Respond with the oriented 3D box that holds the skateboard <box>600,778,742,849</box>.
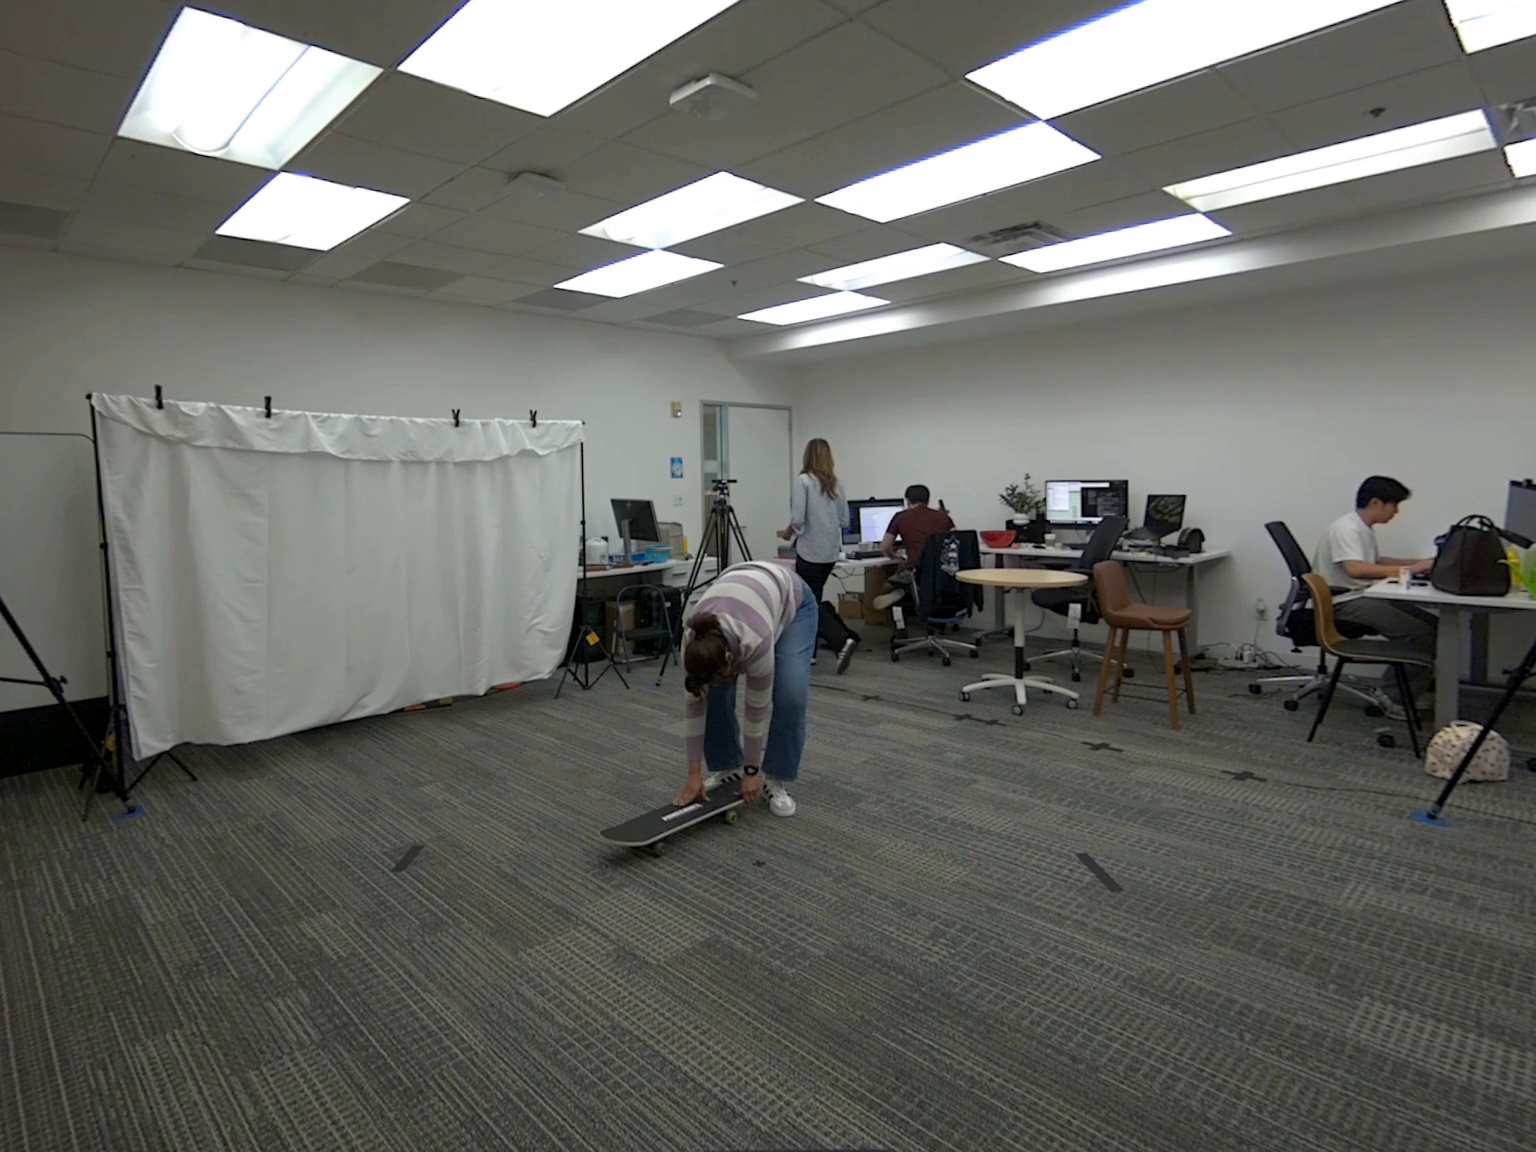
[{"bbox_3d":[-0.340,0.965,3.385,0.199,0.110,0.765,4,8,41],"label":"skateboard"}]
